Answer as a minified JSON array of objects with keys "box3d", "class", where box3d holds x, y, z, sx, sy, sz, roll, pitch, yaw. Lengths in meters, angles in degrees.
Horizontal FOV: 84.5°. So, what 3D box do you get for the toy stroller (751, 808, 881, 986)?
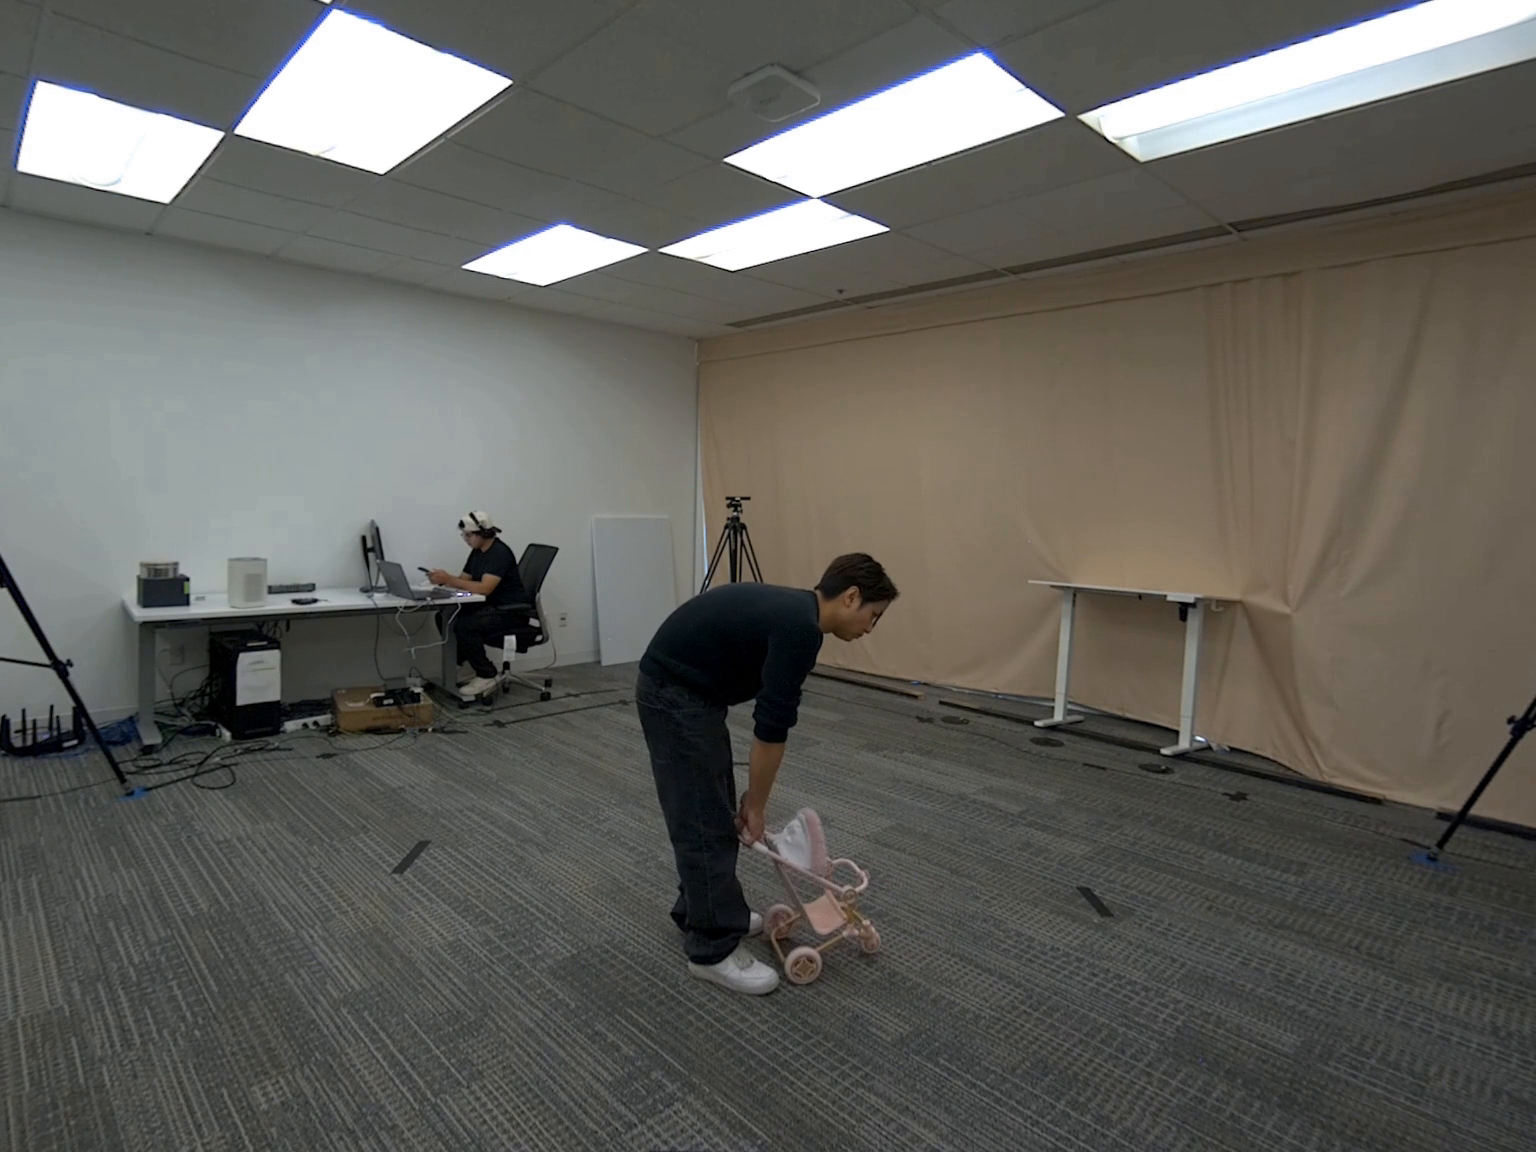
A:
[{"box3d":[0.142,0.940,2.533,0.339,0.531,0.285,-15,8,-9],"class":"toy stroller"}]
